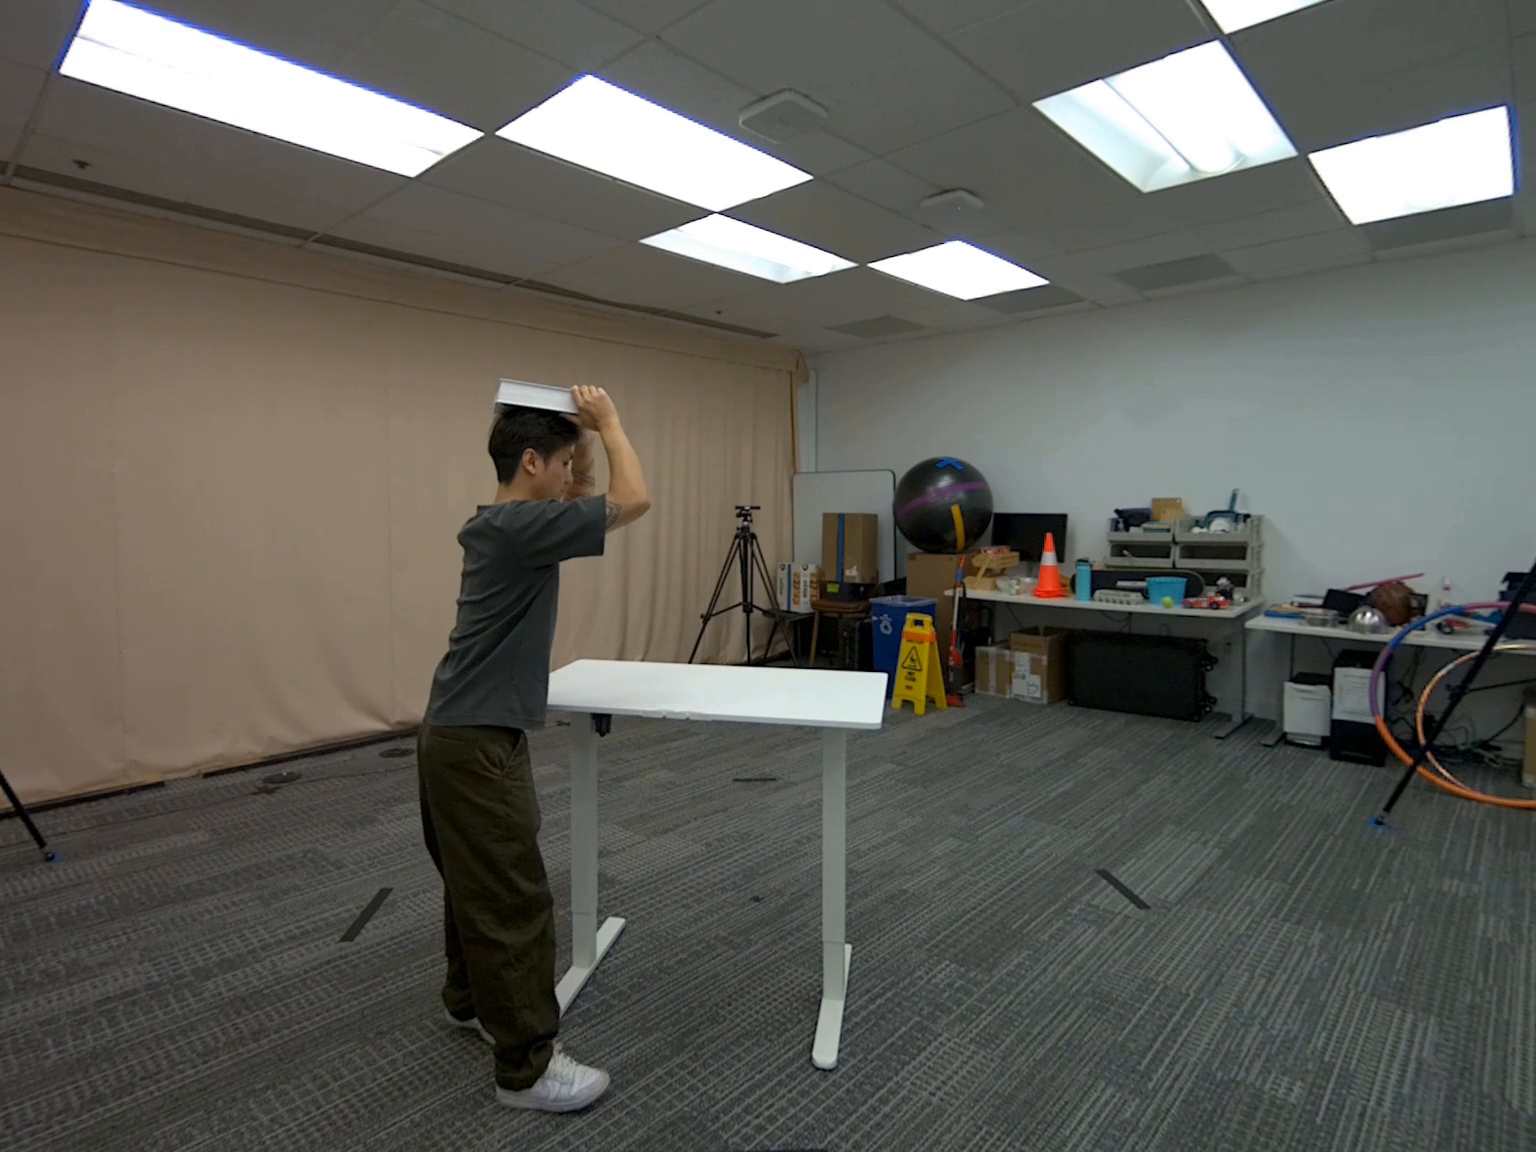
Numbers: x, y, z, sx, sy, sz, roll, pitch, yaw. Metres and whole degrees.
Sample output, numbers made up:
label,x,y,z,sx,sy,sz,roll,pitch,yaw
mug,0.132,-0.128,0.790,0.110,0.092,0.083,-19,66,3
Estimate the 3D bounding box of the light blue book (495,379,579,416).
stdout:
label,x,y,z,sx,sy,sz,roll,pitch,yaw
light blue book,-0.557,-0.438,2.133,0.257,0.059,0.194,6,0,-15
